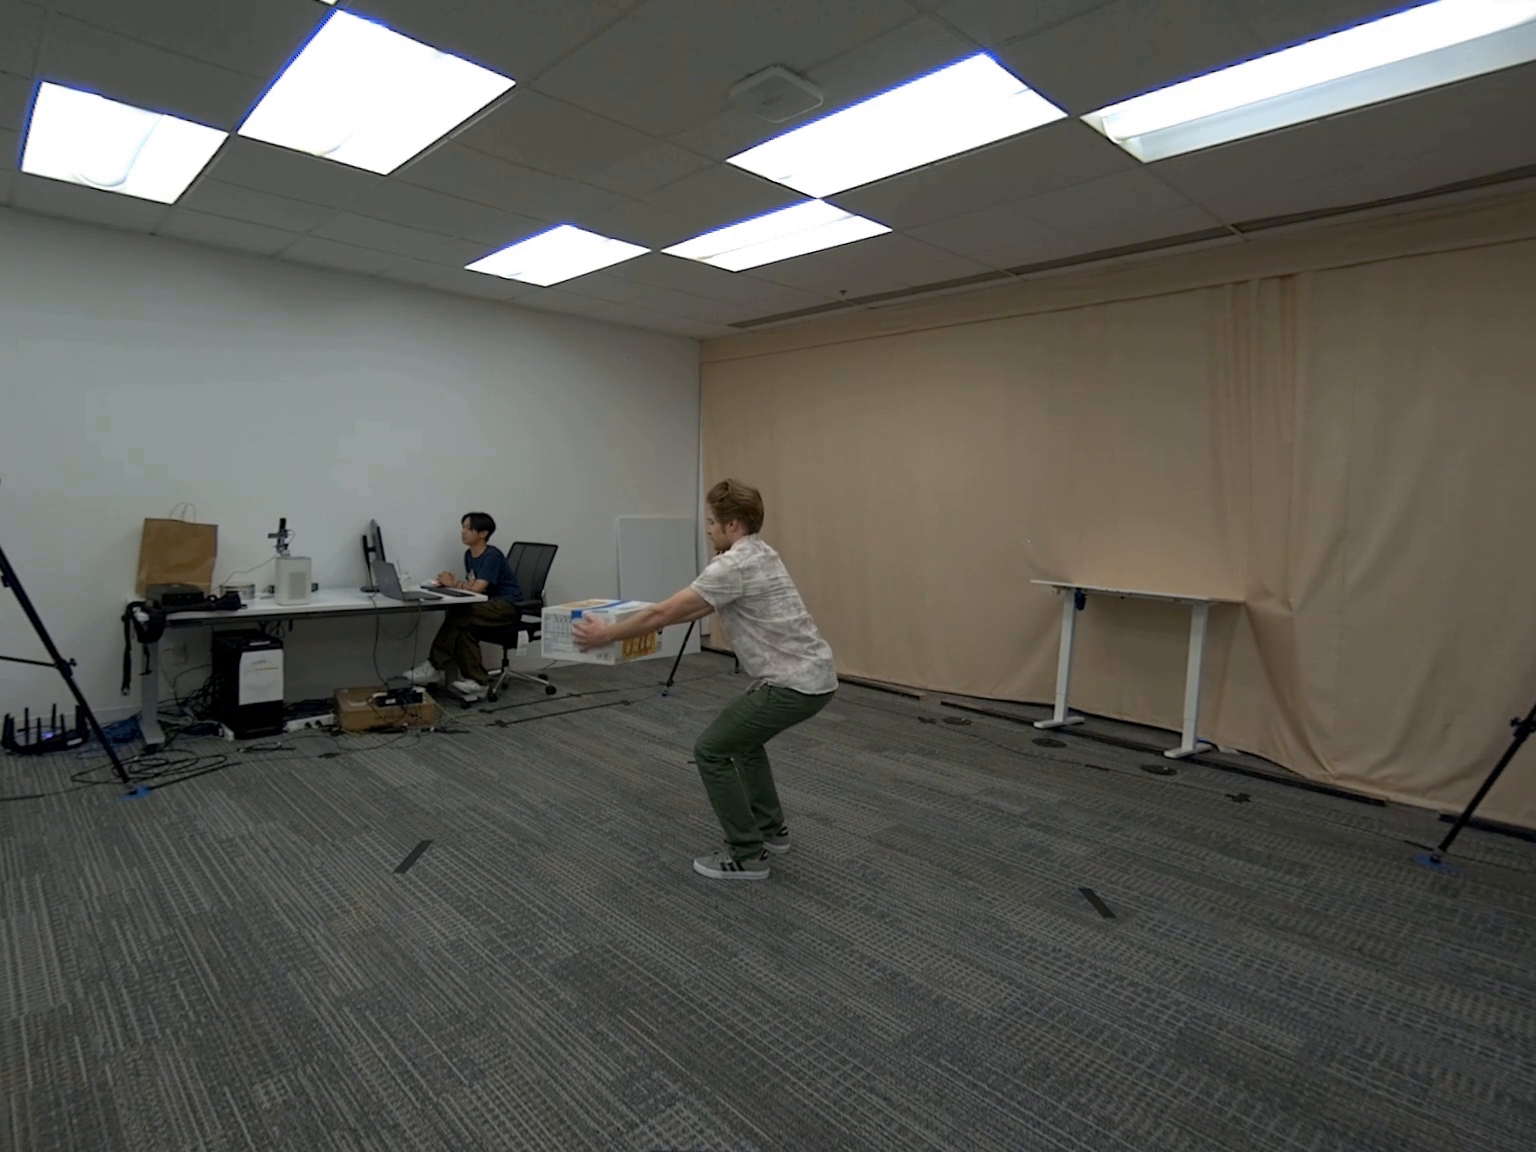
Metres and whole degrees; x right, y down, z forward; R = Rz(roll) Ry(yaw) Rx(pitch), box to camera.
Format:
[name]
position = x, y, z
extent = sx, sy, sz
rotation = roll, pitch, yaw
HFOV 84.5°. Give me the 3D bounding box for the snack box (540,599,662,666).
[snack box]
position = -0.679, 0.226, 3.474
extent = 0.346, 0.205, 0.399
rotation = 2, 4, 21
